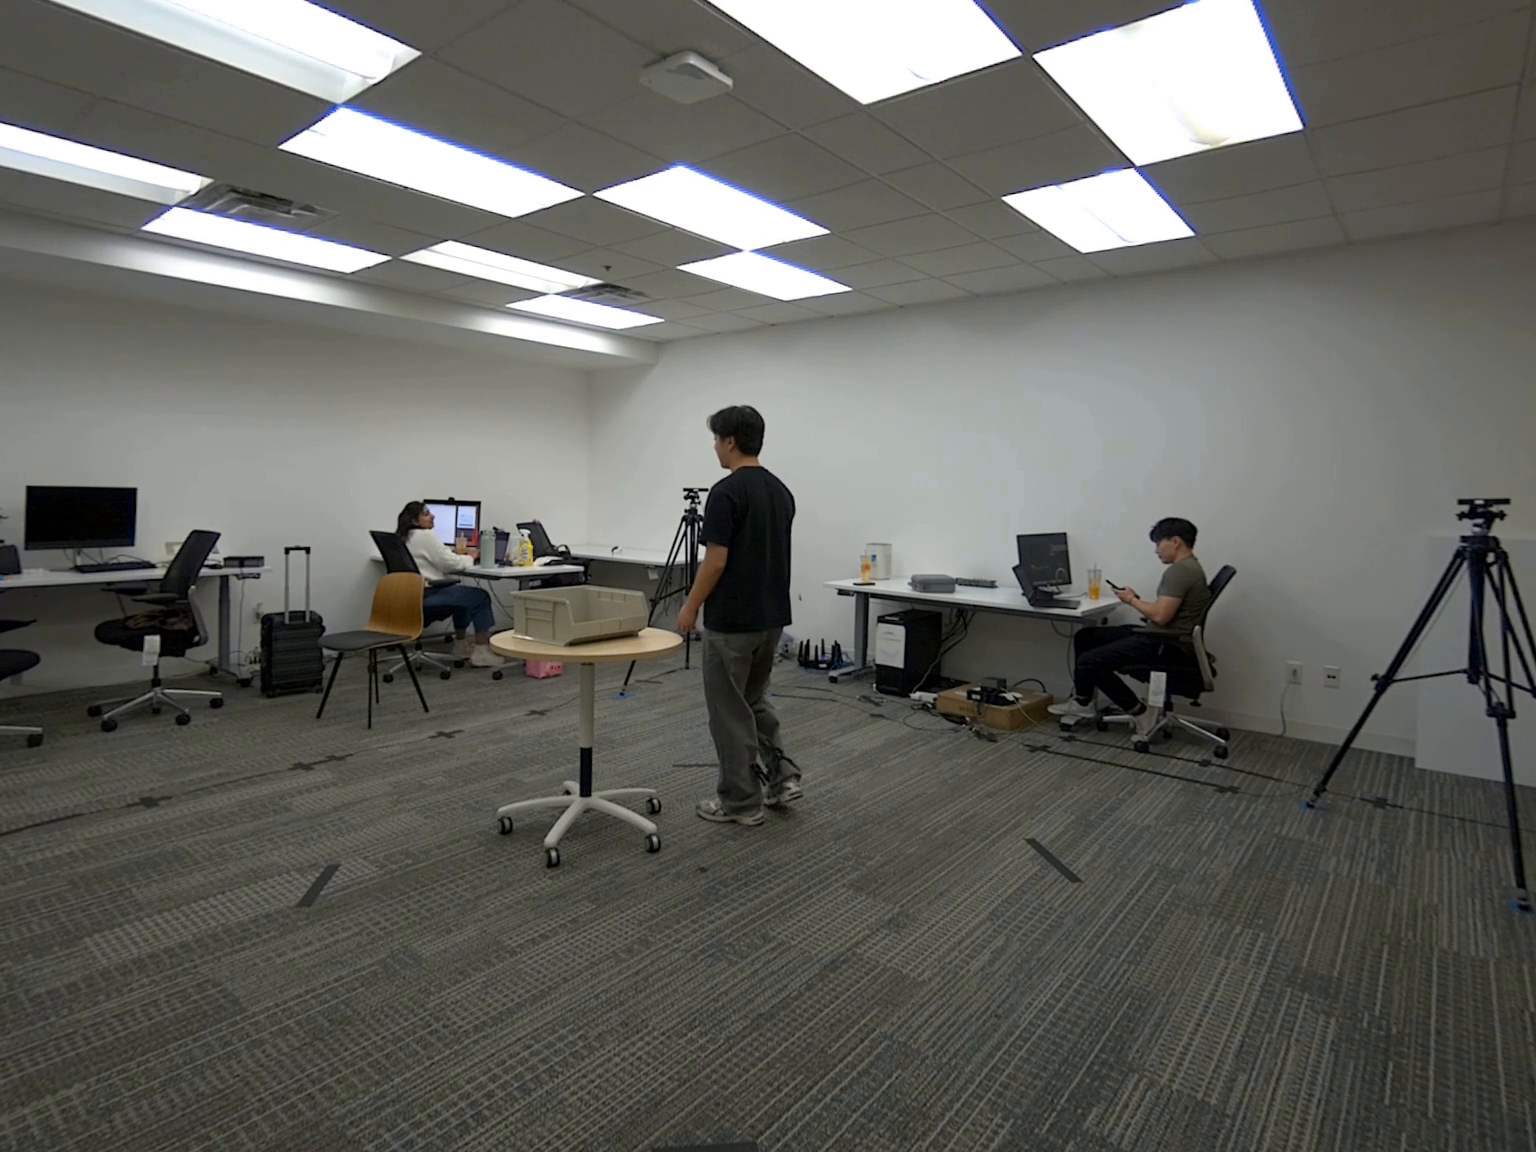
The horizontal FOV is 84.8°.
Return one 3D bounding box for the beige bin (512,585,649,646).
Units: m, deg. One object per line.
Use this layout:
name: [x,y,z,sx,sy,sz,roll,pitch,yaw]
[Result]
beige bin: [-0.774,0.156,3.449,0.389,0.188,0.410,4,5,36]
